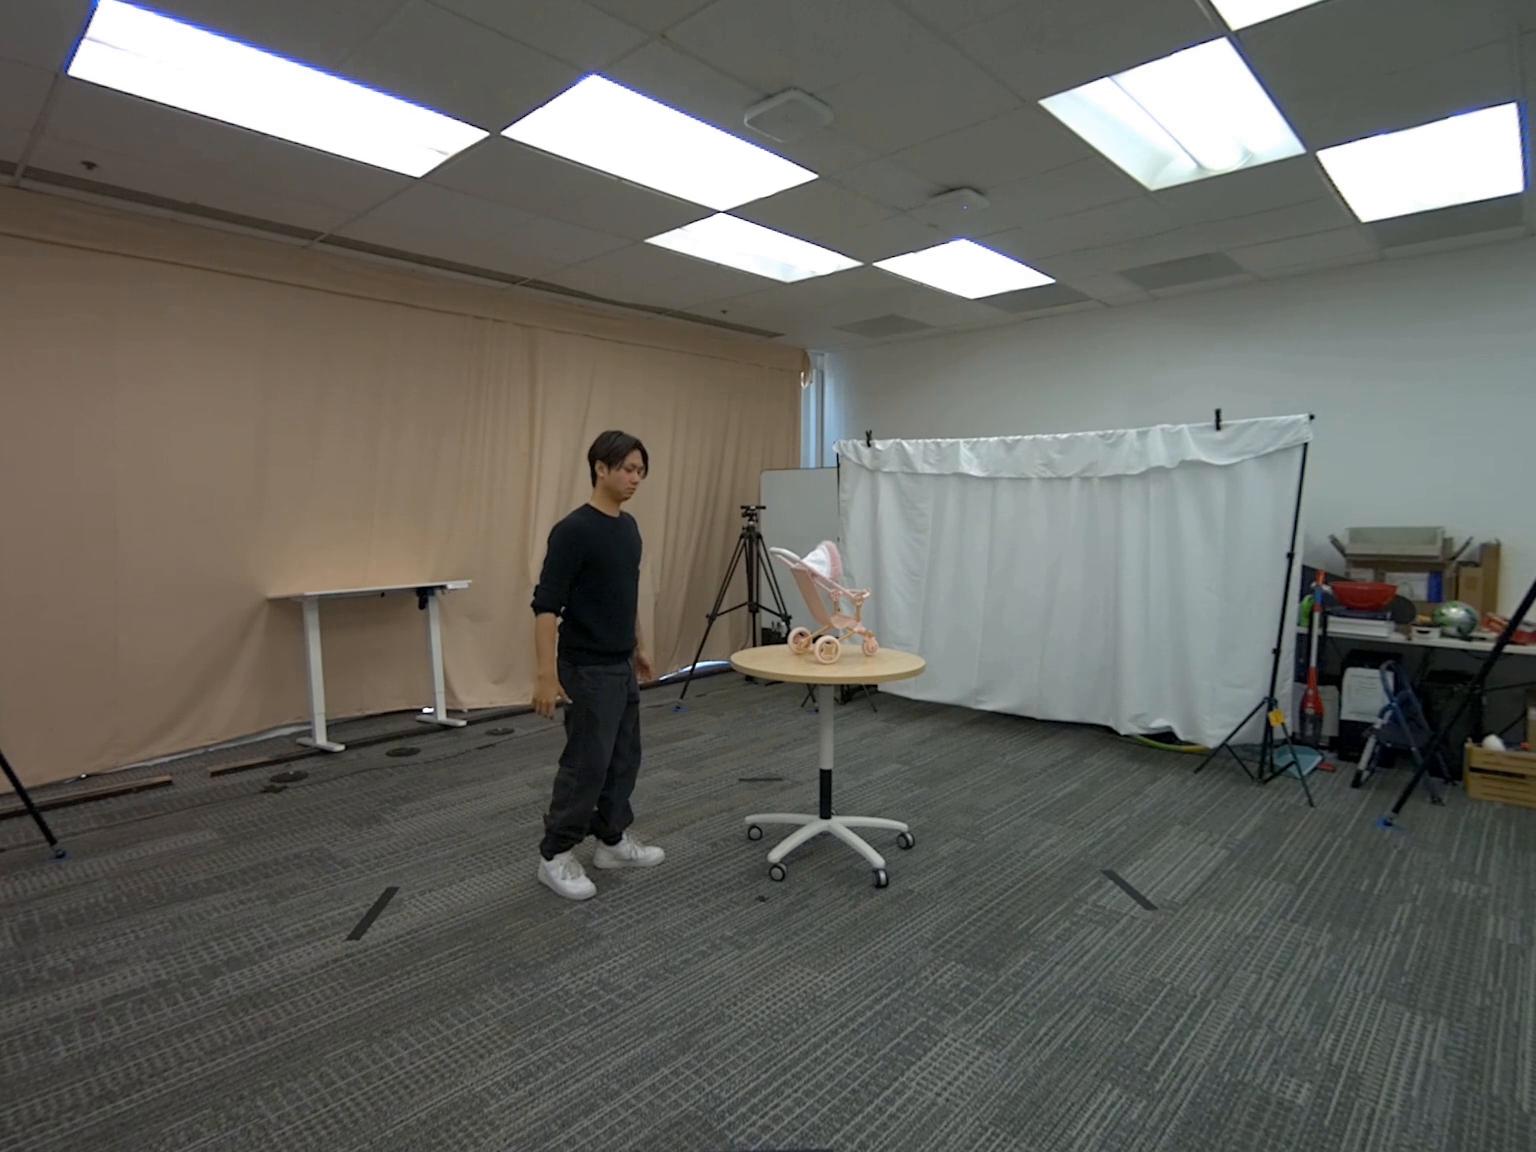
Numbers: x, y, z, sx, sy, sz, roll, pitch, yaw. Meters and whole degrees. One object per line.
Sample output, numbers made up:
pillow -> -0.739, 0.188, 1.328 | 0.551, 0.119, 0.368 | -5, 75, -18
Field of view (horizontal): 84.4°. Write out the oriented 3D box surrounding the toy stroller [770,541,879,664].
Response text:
toy stroller -> 0.250, 0.103, 3.347 | 0.337, 0.532, 0.286 | -16, 6, -14
